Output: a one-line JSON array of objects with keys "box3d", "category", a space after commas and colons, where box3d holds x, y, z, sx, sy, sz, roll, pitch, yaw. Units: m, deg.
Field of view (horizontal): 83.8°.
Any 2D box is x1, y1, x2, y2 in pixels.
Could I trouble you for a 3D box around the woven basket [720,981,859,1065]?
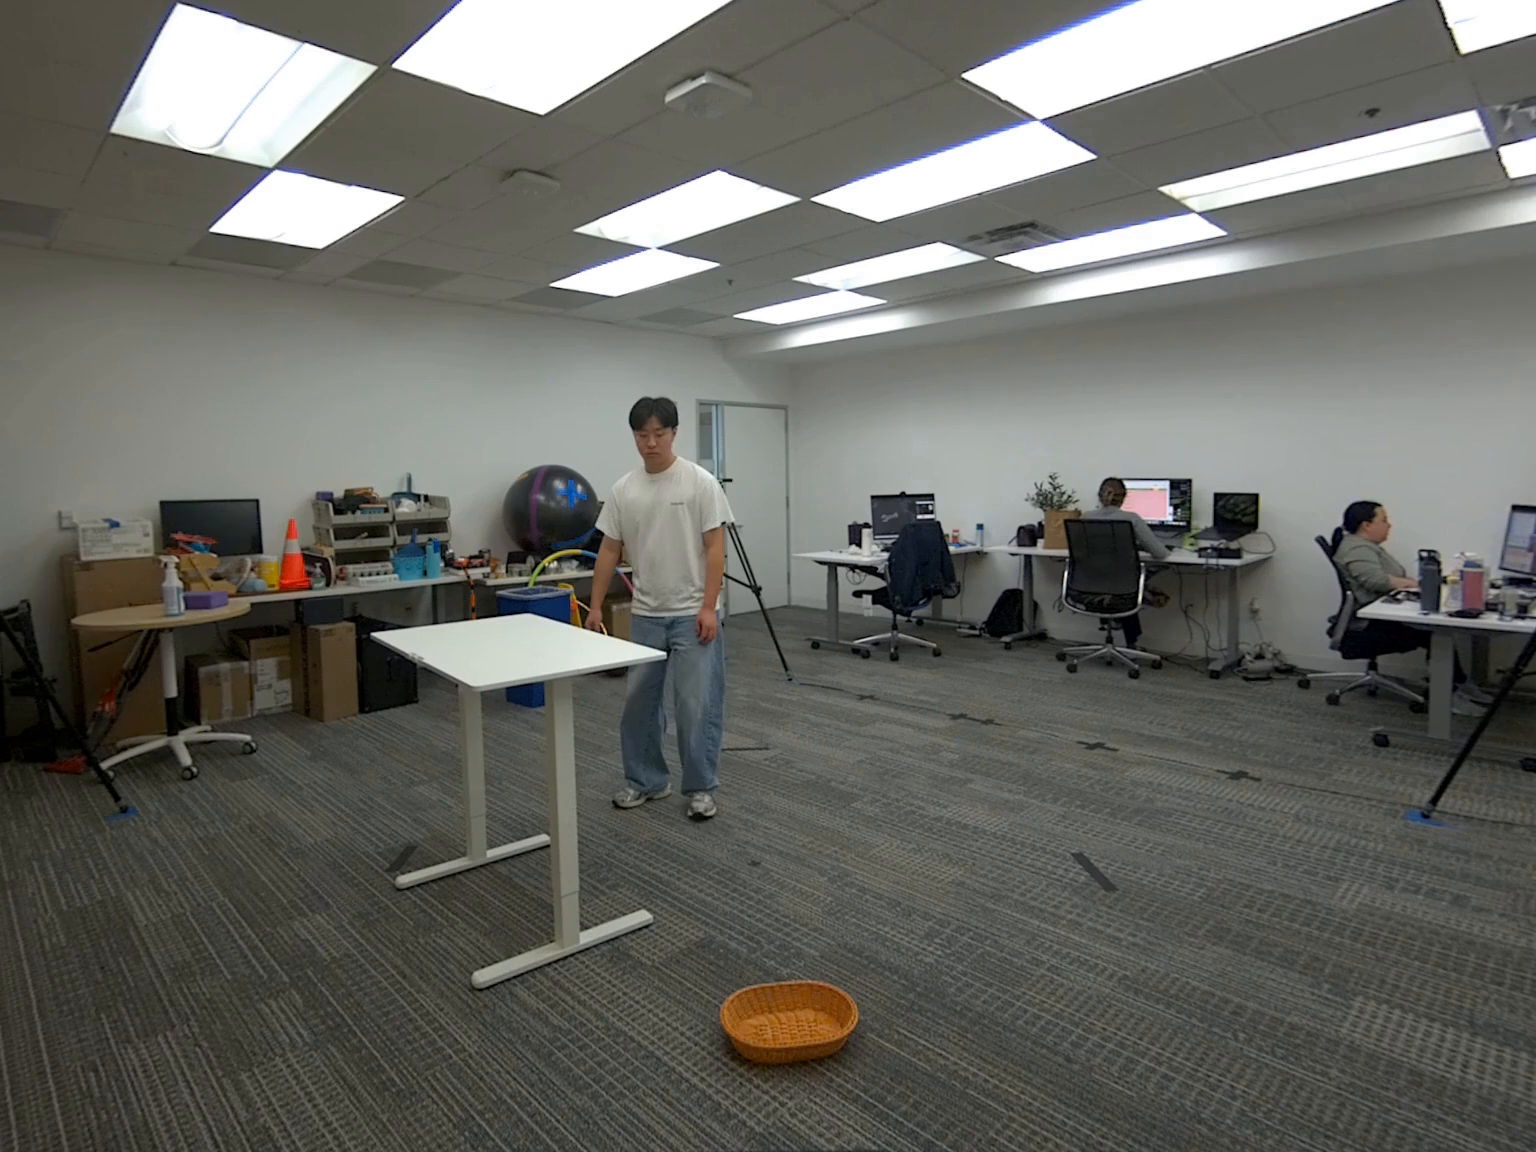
[{"box3d": [0.059, 1.121, 2.135, 0.349, 0.073, 0.255, -2, 7, -5], "category": "woven basket"}]
